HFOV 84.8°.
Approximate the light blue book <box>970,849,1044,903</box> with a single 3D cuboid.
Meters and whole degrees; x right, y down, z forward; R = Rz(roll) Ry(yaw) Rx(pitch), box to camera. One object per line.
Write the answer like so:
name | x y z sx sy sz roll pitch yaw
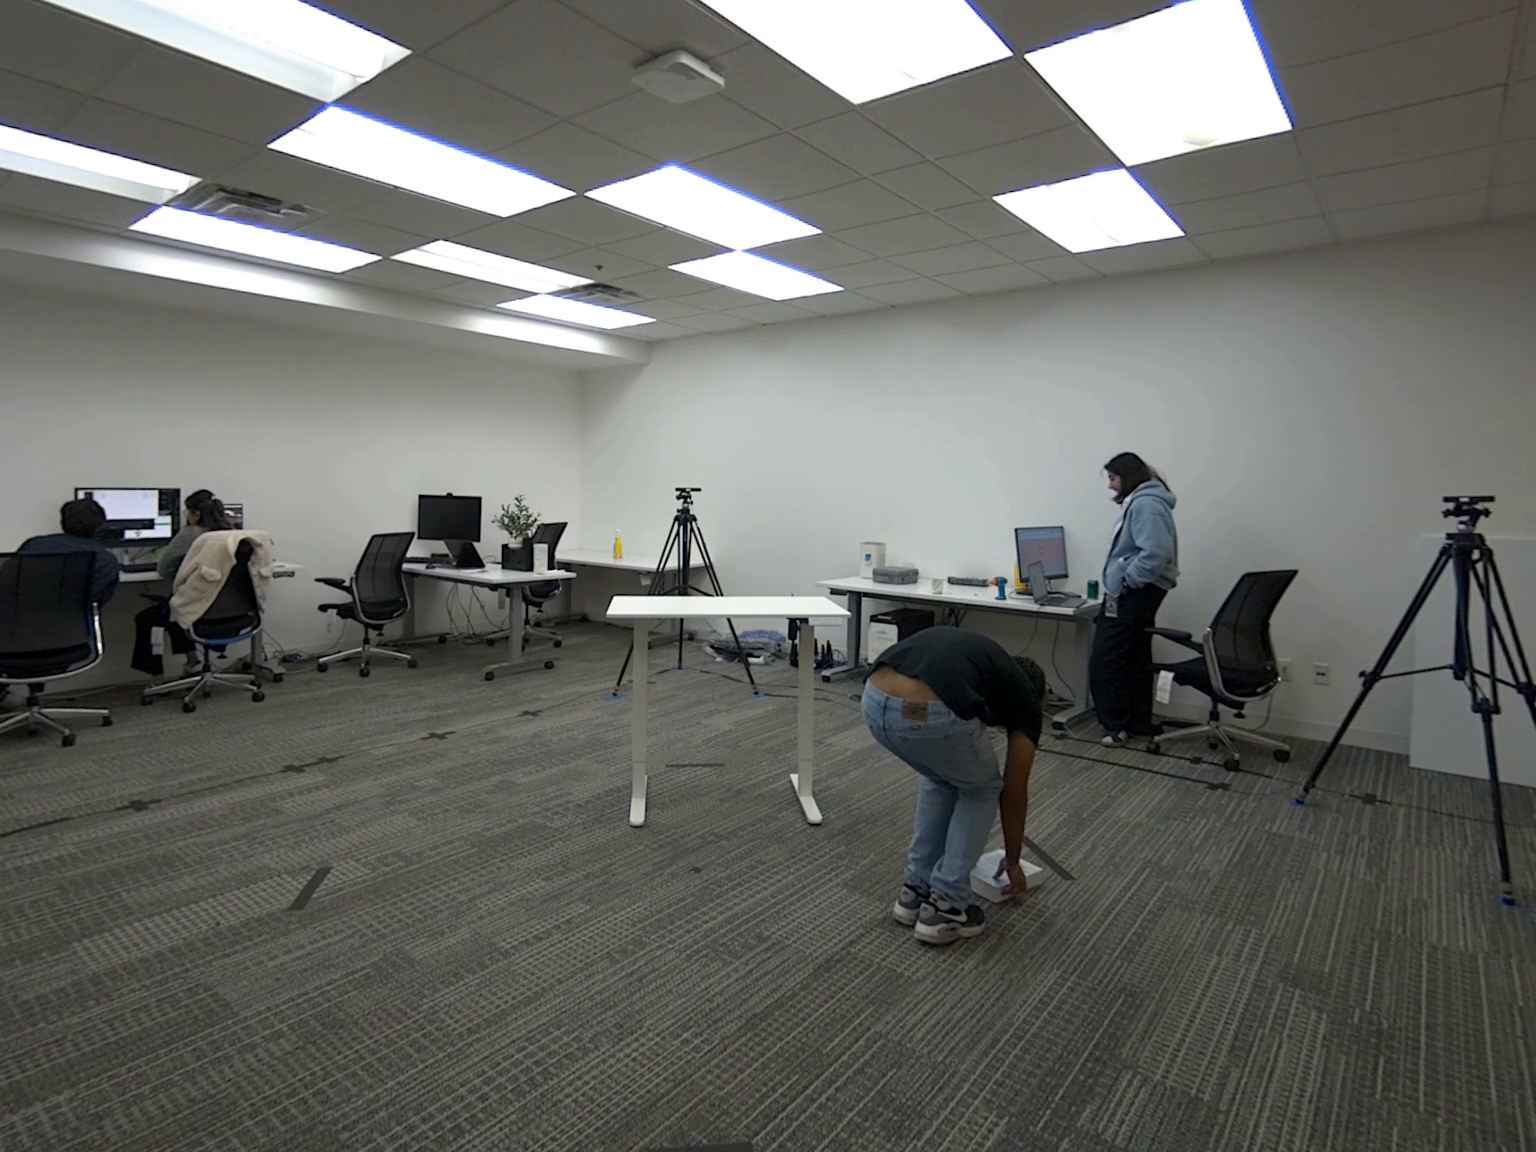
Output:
light blue book | 0.824 1.062 3.039 0.253 0.058 0.198 -3 10 -38
